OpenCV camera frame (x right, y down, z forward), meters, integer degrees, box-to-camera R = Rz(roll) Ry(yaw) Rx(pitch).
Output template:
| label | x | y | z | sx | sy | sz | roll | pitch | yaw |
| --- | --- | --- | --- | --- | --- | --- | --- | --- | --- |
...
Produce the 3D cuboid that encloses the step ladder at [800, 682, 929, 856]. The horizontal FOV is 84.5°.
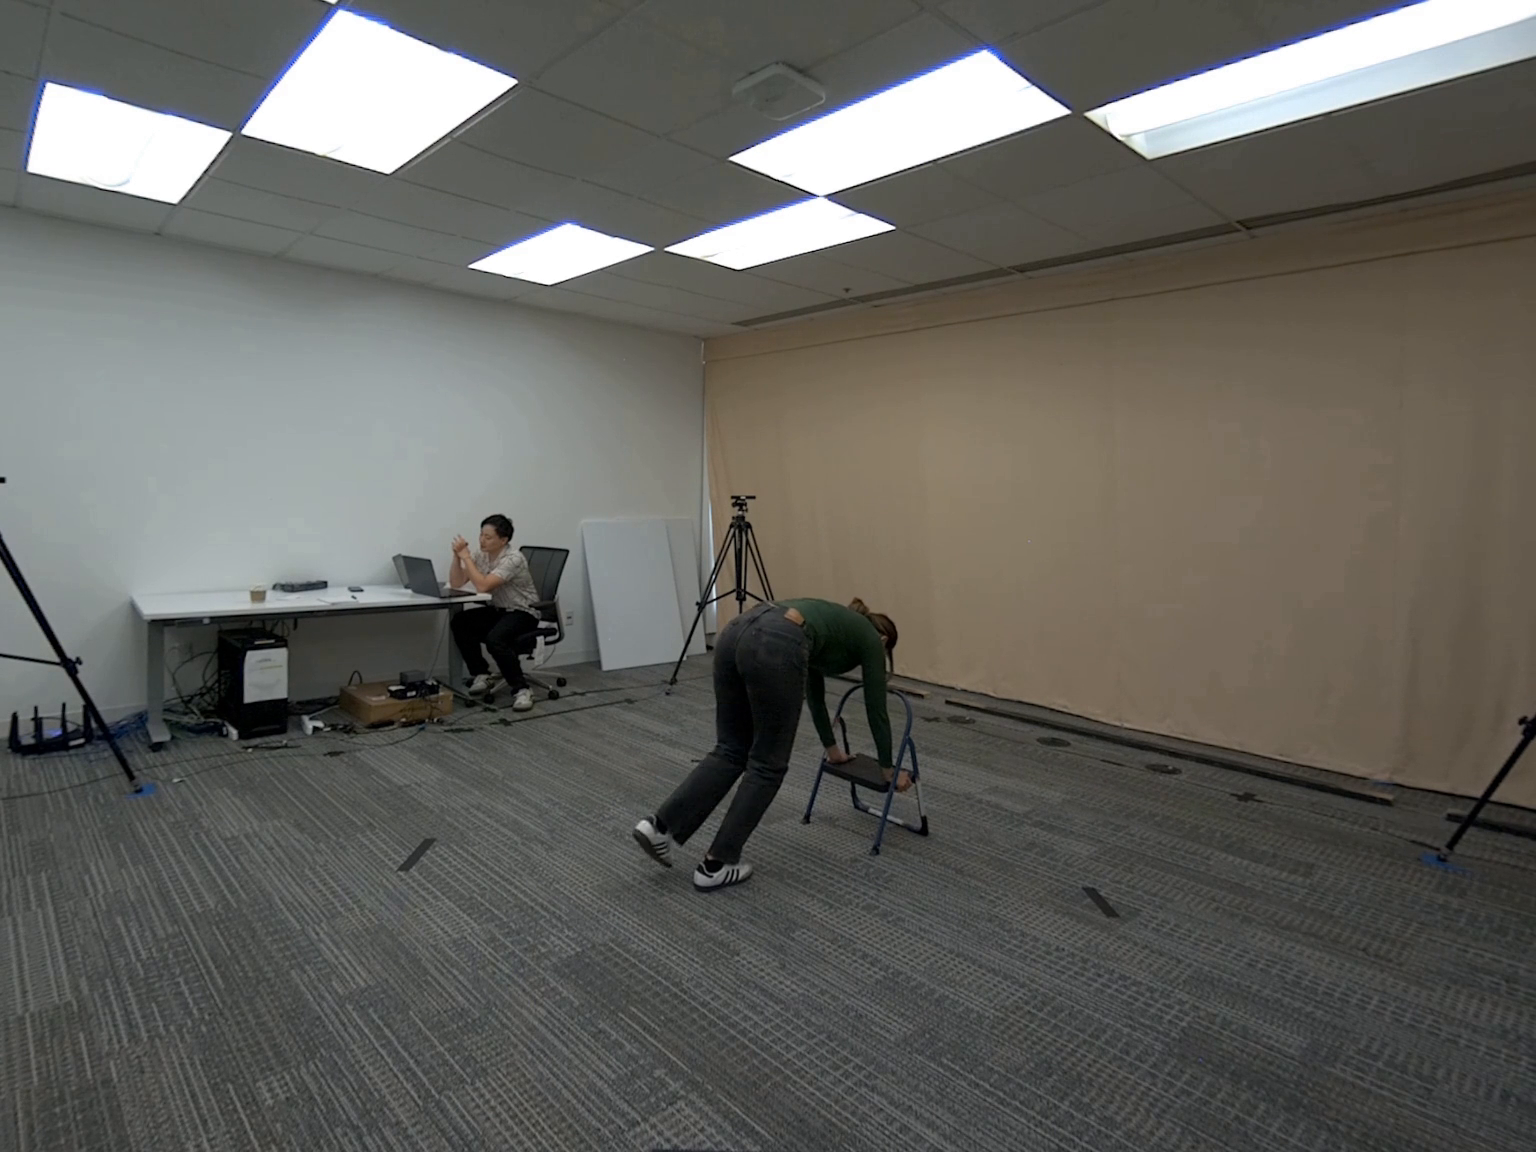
| label | x | y | z | sx | sy | sz | roll | pitch | yaw |
| --- | --- | --- | --- | --- | --- | --- | --- | --- | --- |
| step ladder | 0.410 | 0.775 | 3.556 | 0.341 | 0.605 | 0.441 | -1 | 4 | -40 |
